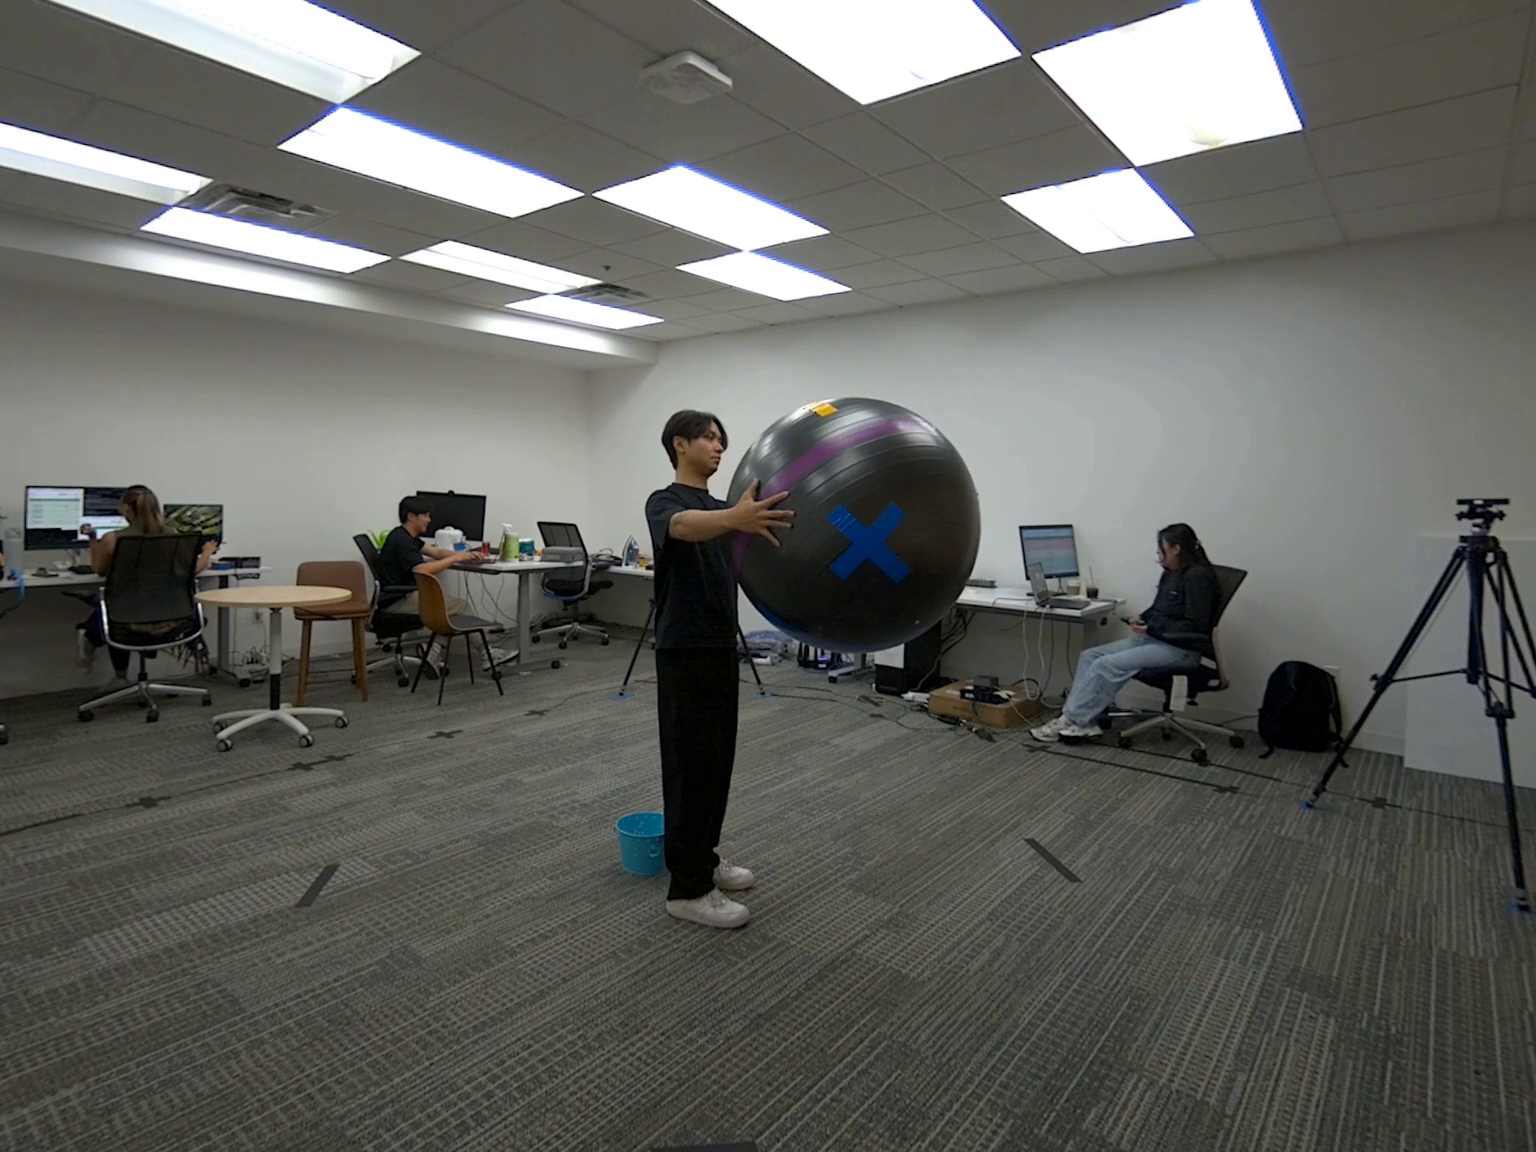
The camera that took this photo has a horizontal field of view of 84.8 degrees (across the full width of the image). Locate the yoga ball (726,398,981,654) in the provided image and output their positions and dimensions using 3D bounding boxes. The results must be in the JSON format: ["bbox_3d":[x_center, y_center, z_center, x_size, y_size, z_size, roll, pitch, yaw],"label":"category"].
[{"bbox_3d":[0.236,-0.150,2.553,0.757,0.756,0.761,1,4,-2],"label":"yoga ball"}]
